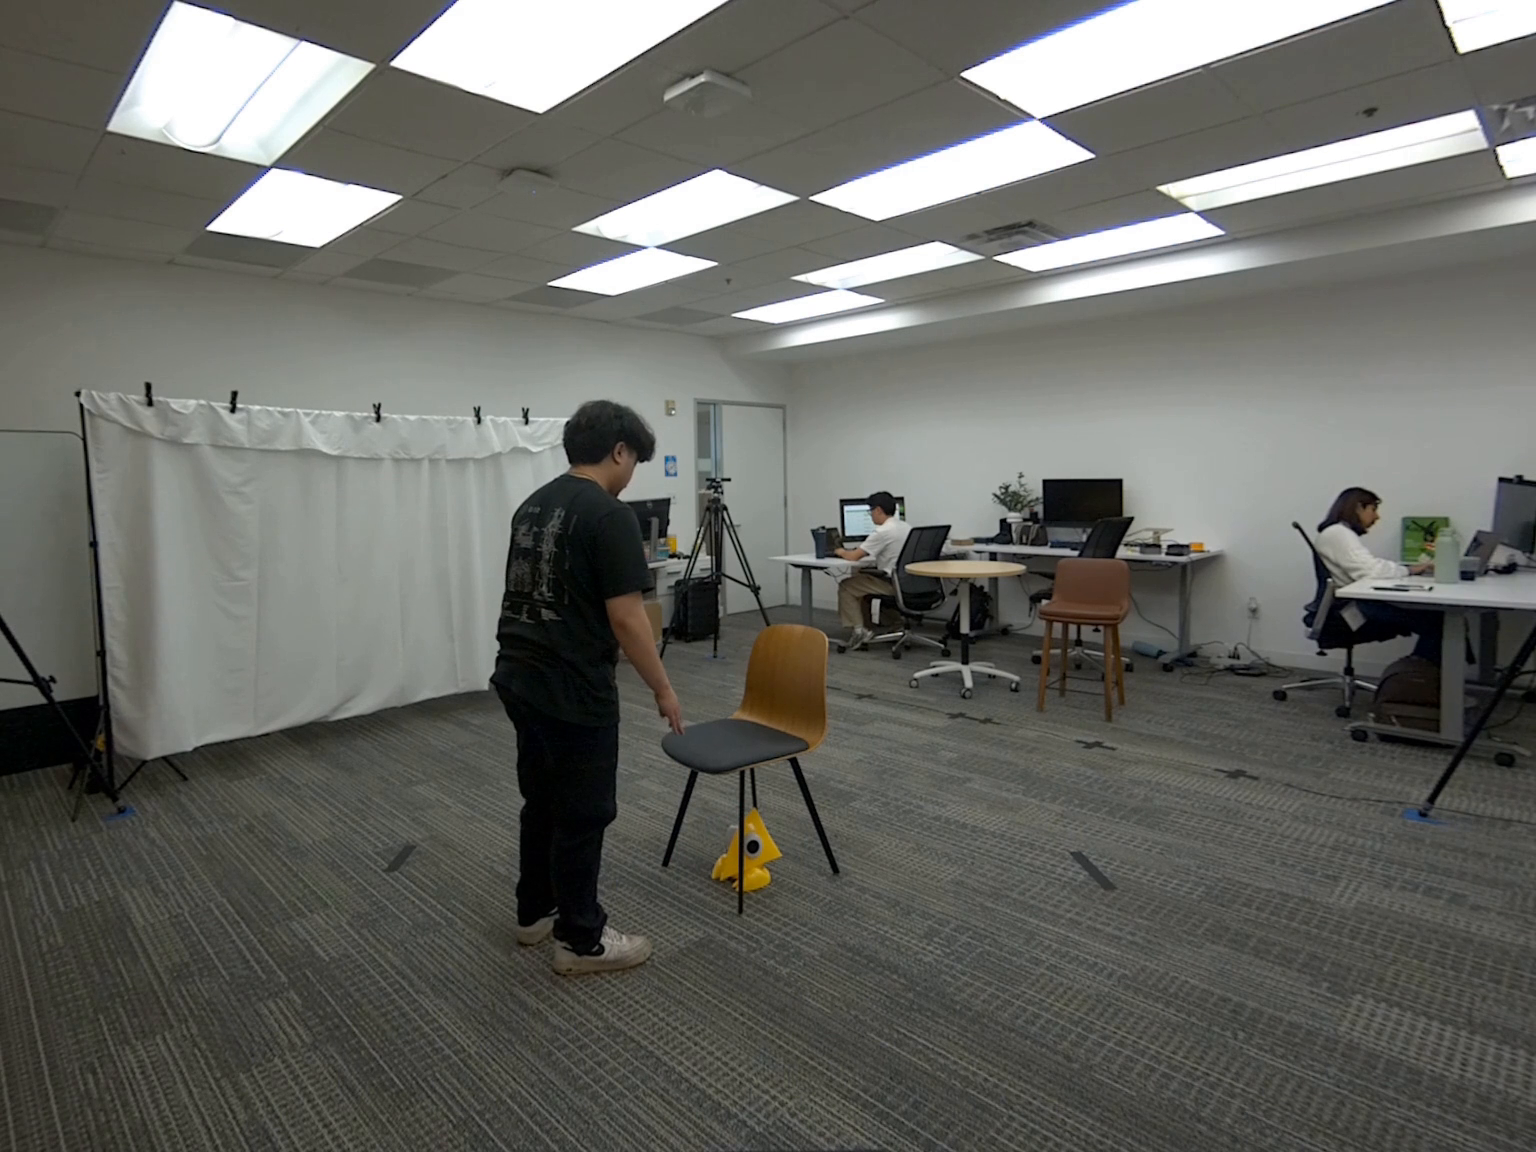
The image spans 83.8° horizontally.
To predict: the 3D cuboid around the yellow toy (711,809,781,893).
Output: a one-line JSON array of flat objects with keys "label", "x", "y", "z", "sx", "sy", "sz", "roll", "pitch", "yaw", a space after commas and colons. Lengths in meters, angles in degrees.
[{"label": "yellow toy", "x": -0.085, "y": 0.945, "z": 2.990, "sx": 0.188, "sy": 0.230, "sz": 0.211, "roll": -6, "pitch": 6, "yaw": -43}]
